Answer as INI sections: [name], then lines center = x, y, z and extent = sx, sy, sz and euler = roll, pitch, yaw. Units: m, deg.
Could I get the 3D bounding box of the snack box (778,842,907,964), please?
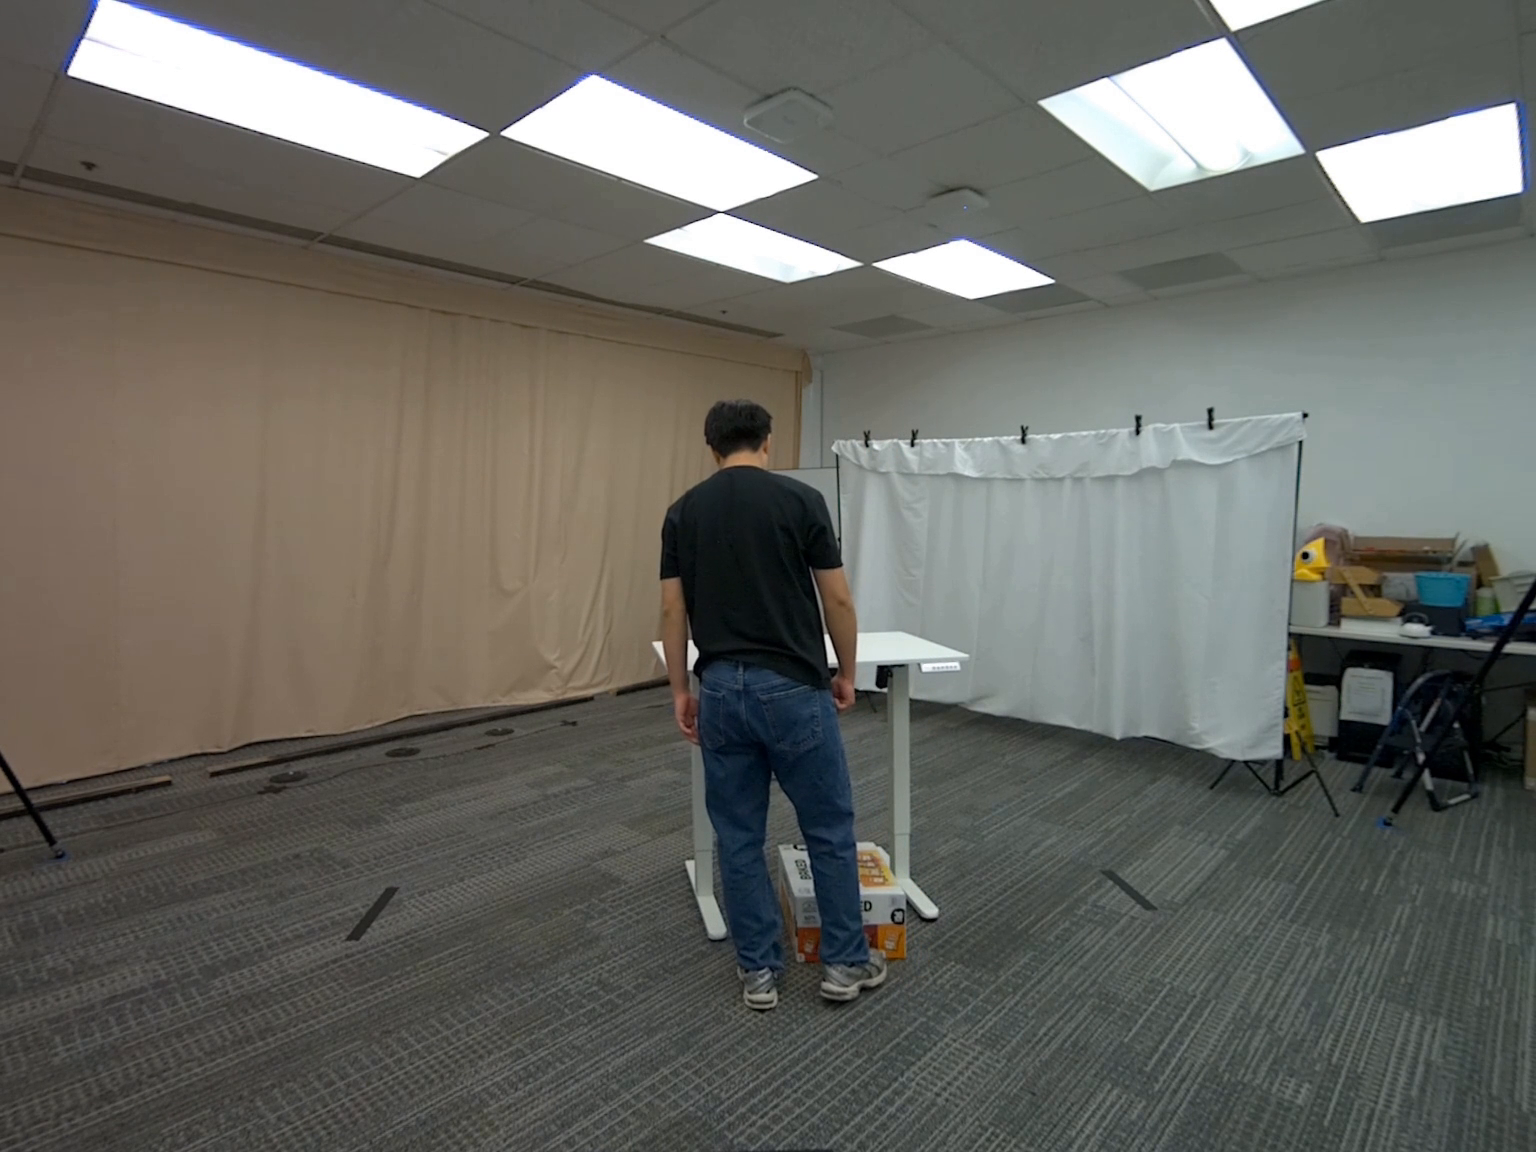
[snack box]
center = 0.234, 1.060, 2.762
extent = 0.339, 0.205, 0.408
euler = -1, 4, -5
